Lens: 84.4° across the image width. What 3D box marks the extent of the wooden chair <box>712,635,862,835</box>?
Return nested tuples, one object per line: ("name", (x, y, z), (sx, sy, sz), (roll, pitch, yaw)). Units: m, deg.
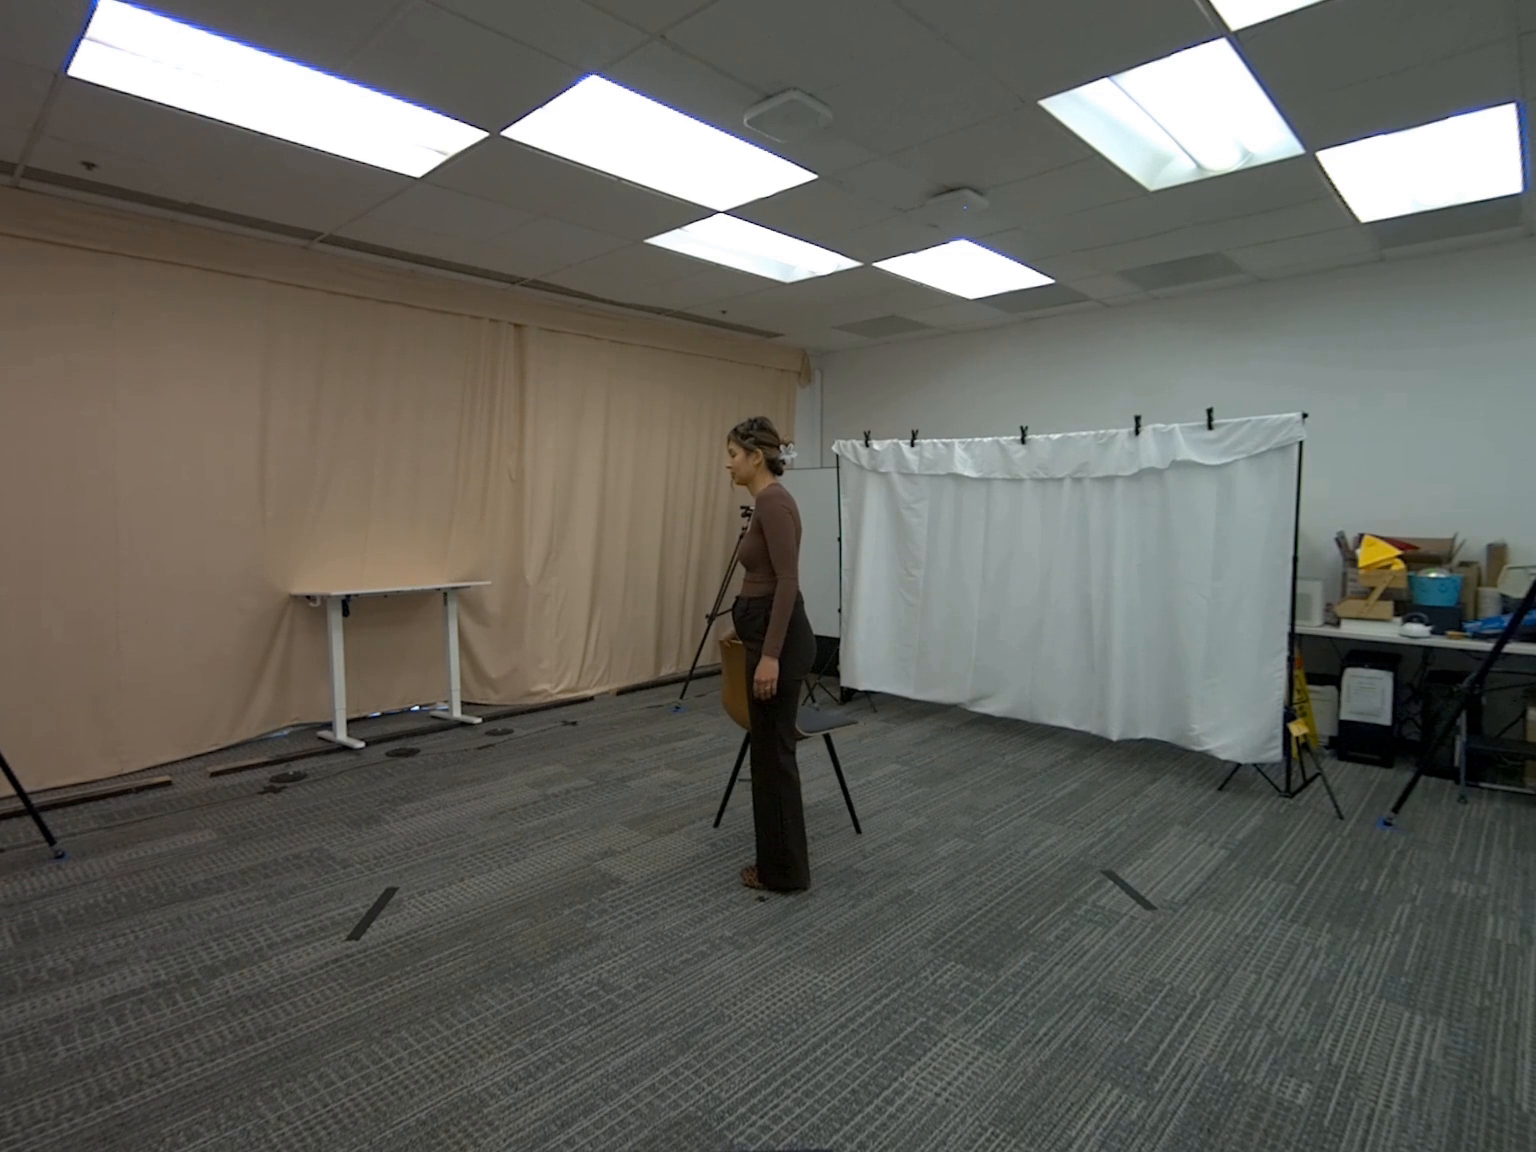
("wooden chair", (0.083, 0.664, 3.586), (0.508, 0.874, 0.493), (-8, 6, -39))
